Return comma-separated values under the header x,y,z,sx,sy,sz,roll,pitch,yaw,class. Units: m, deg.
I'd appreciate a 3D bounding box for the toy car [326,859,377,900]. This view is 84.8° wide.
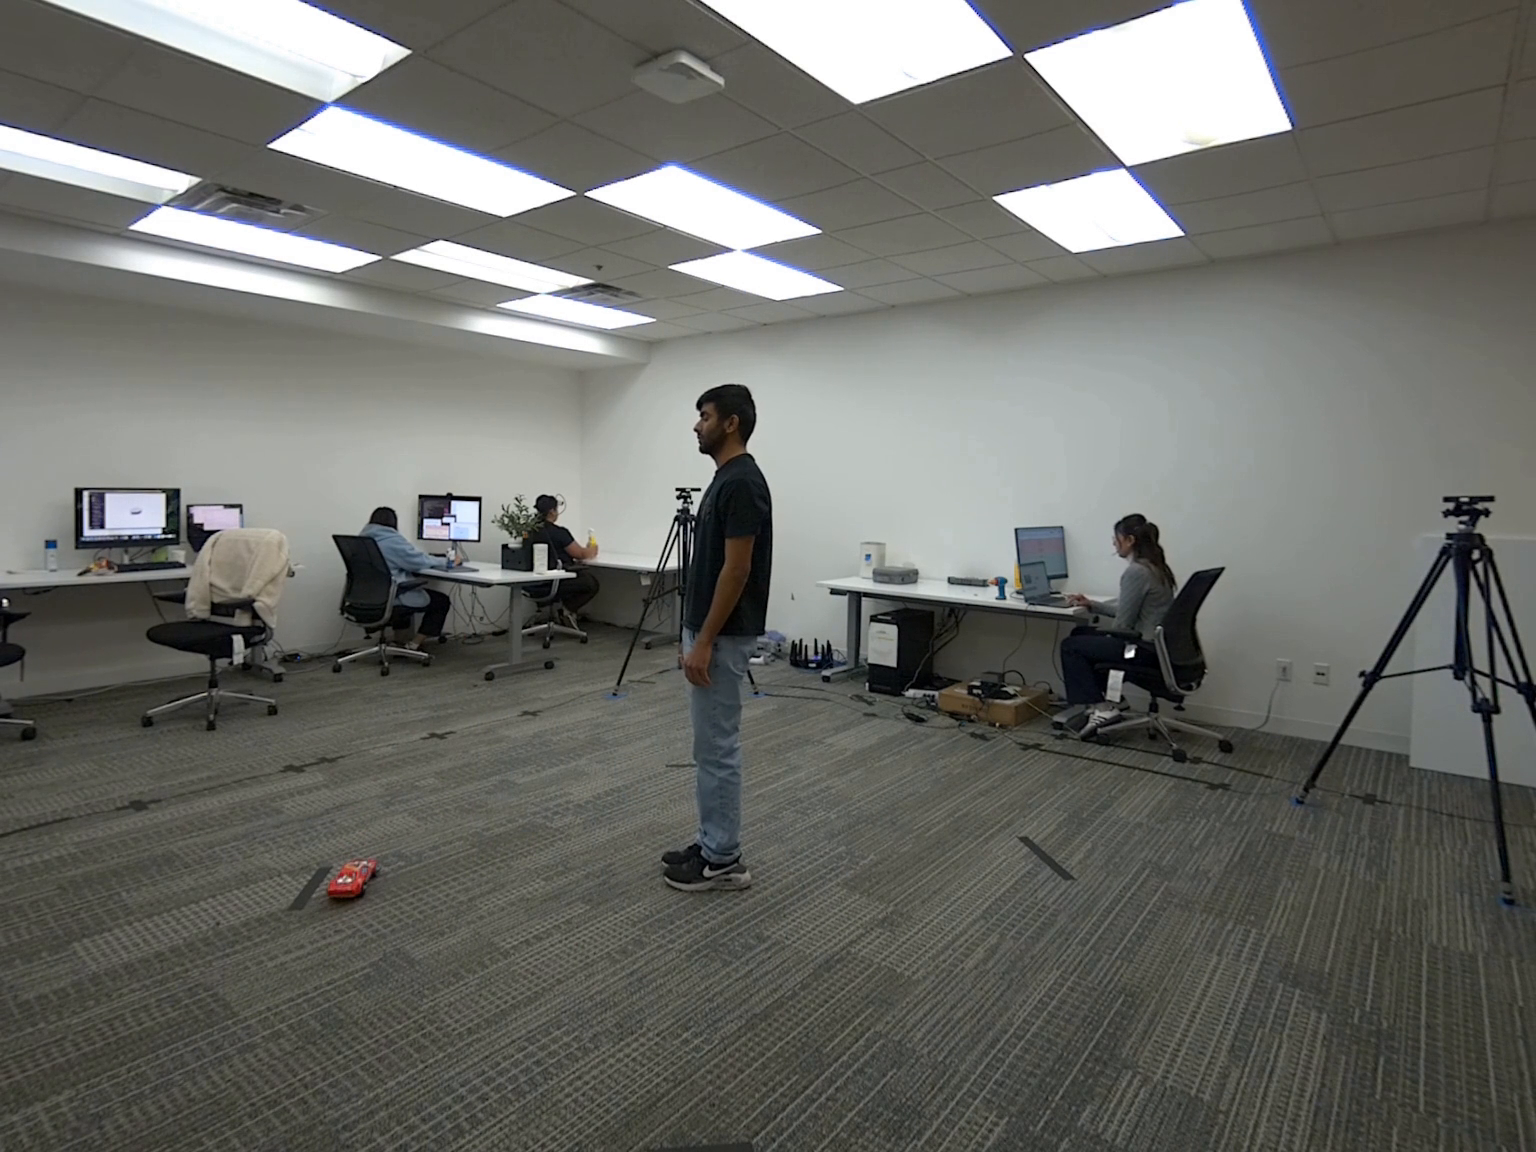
x,y,z,sx,sy,sz,roll,pitch,yaw,class
-1.440,1.041,2.923,0.129,0.084,0.255,1,-5,-8,toy car
